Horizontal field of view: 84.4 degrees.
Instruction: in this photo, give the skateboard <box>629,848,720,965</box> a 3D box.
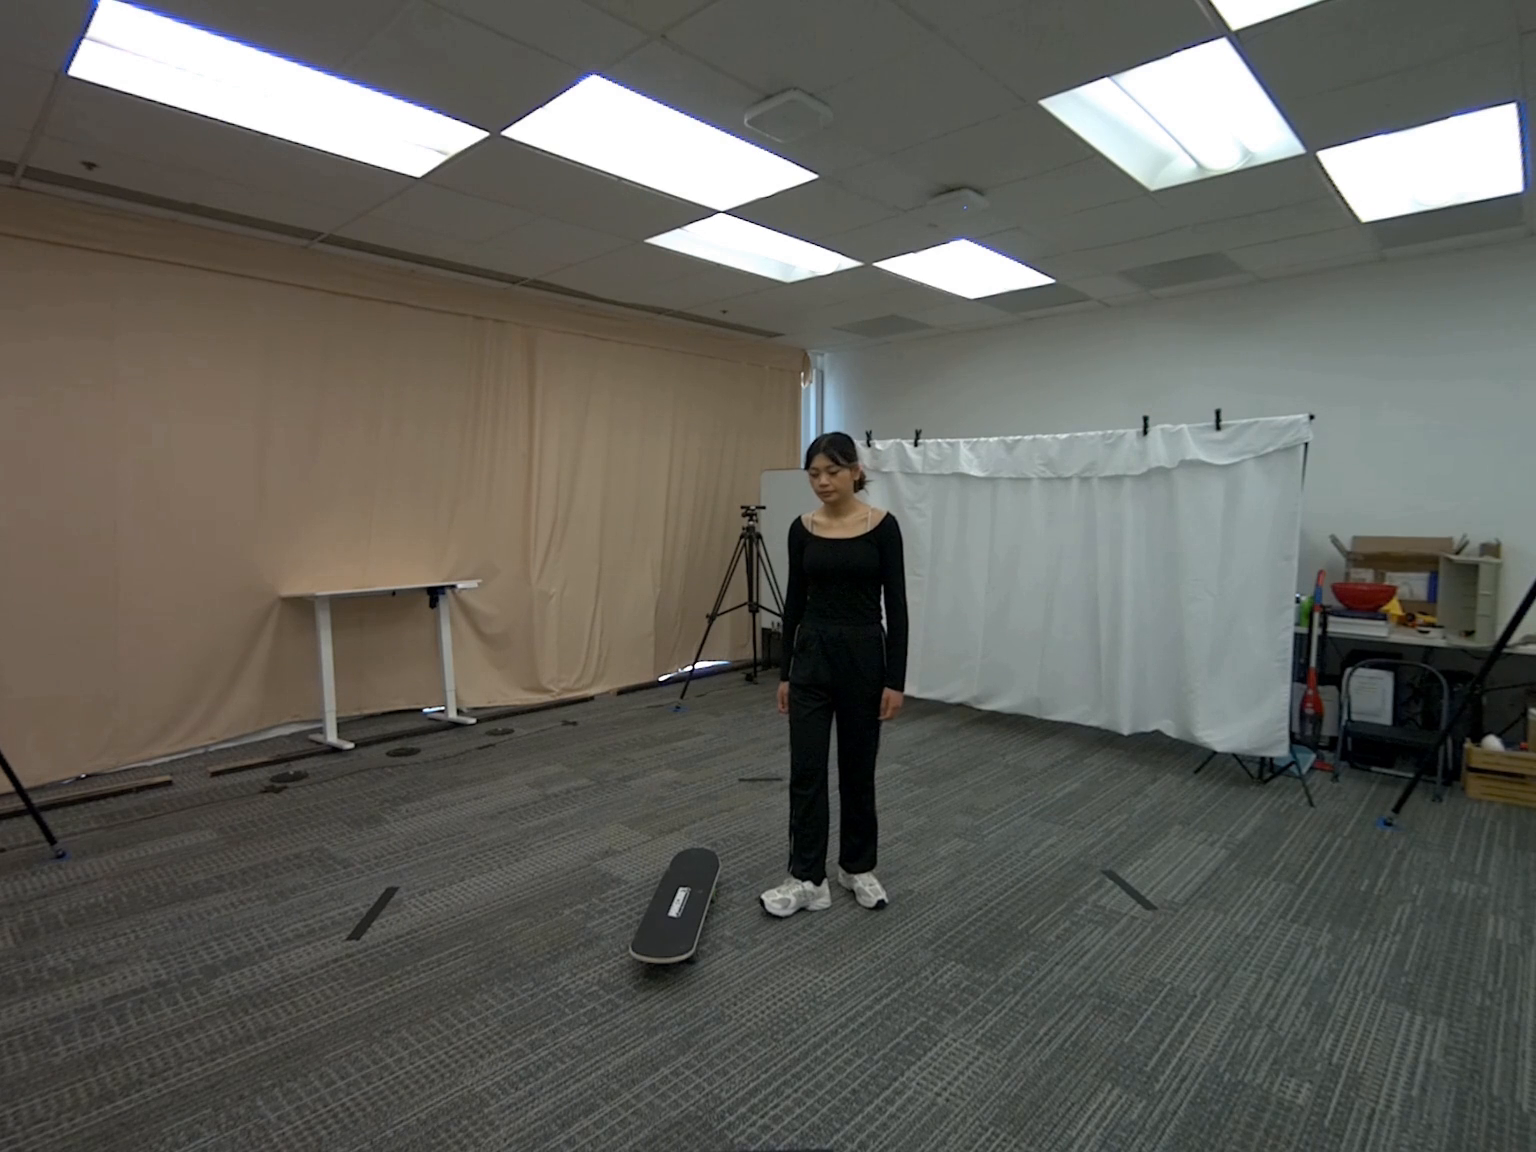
[{"bbox_3d":[-0.288,1.100,2.781,0.195,0.110,0.781,0,5,6],"label":"skateboard"}]
